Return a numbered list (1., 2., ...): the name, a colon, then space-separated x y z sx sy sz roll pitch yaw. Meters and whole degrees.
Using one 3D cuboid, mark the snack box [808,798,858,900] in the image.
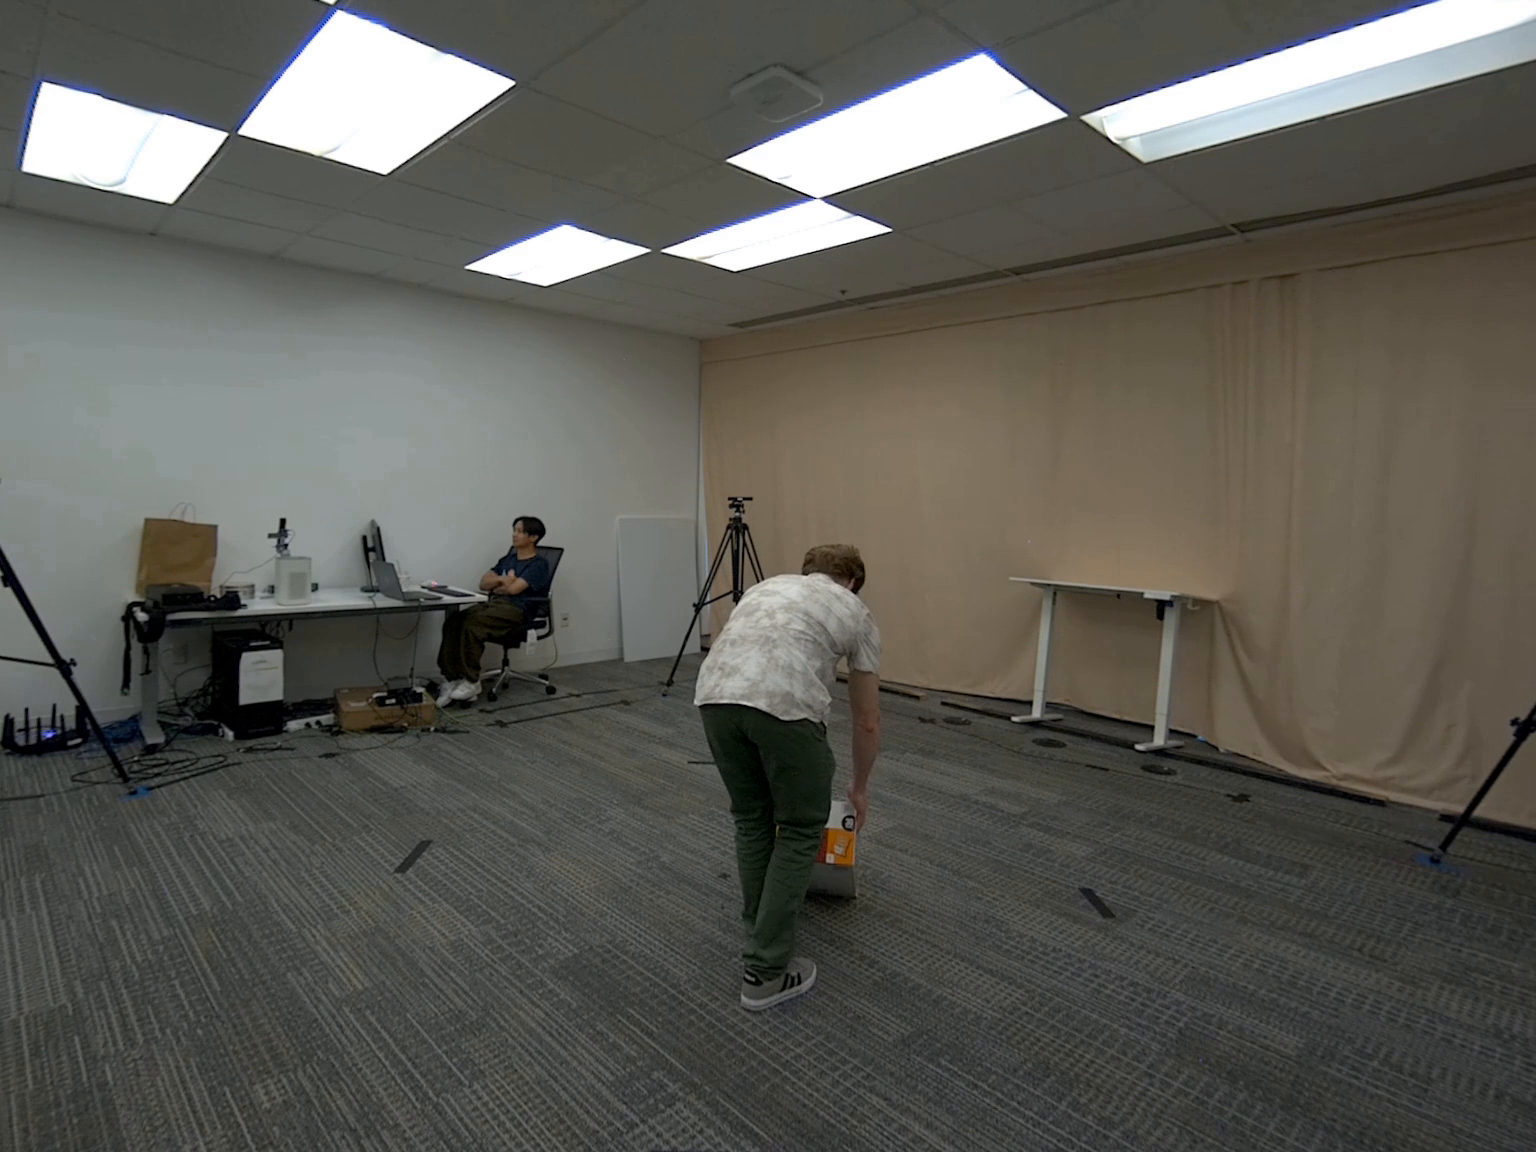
1. snack box: 0.133 0.934 2.886 0.344 0.209 0.395 3 -34 11
